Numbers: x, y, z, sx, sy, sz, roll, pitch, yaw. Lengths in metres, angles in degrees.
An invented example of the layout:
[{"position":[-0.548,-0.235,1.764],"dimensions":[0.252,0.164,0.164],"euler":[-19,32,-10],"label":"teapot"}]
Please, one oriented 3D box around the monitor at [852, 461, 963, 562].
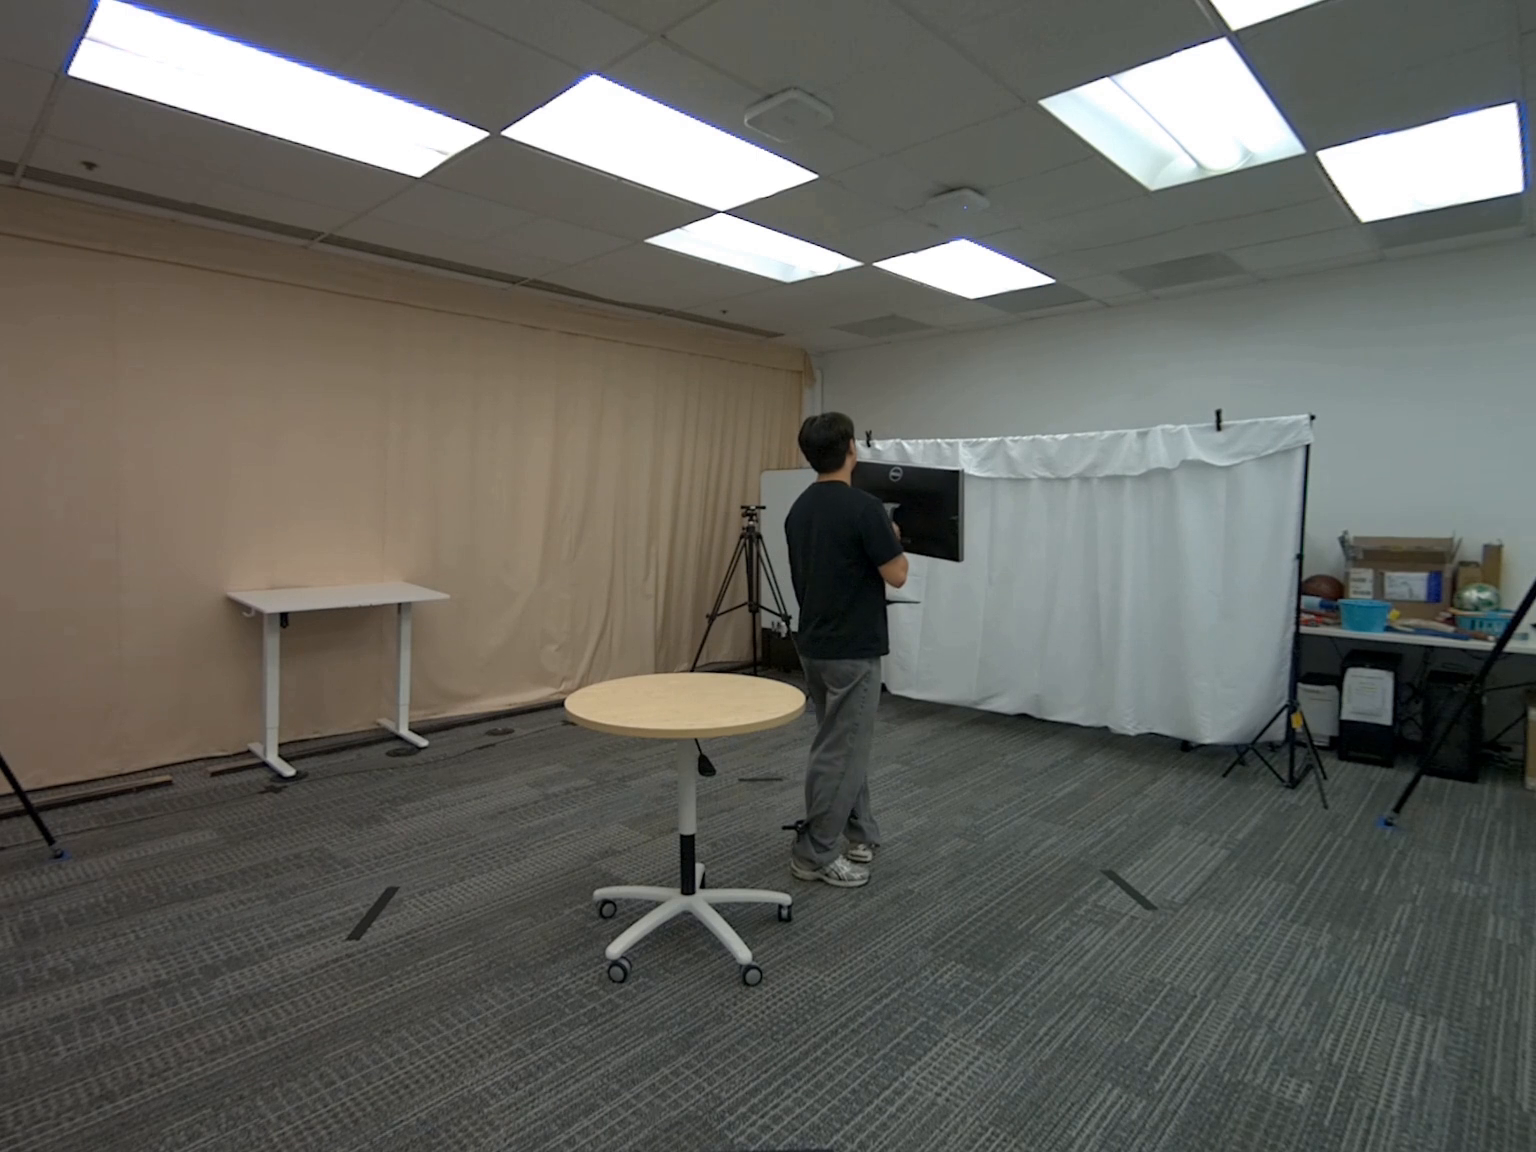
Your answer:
[{"position":[0.497,-0.172,3.352],"dimensions":[0.215,0.565,0.582],"euler":[5,6,-42],"label":"monitor"}]
